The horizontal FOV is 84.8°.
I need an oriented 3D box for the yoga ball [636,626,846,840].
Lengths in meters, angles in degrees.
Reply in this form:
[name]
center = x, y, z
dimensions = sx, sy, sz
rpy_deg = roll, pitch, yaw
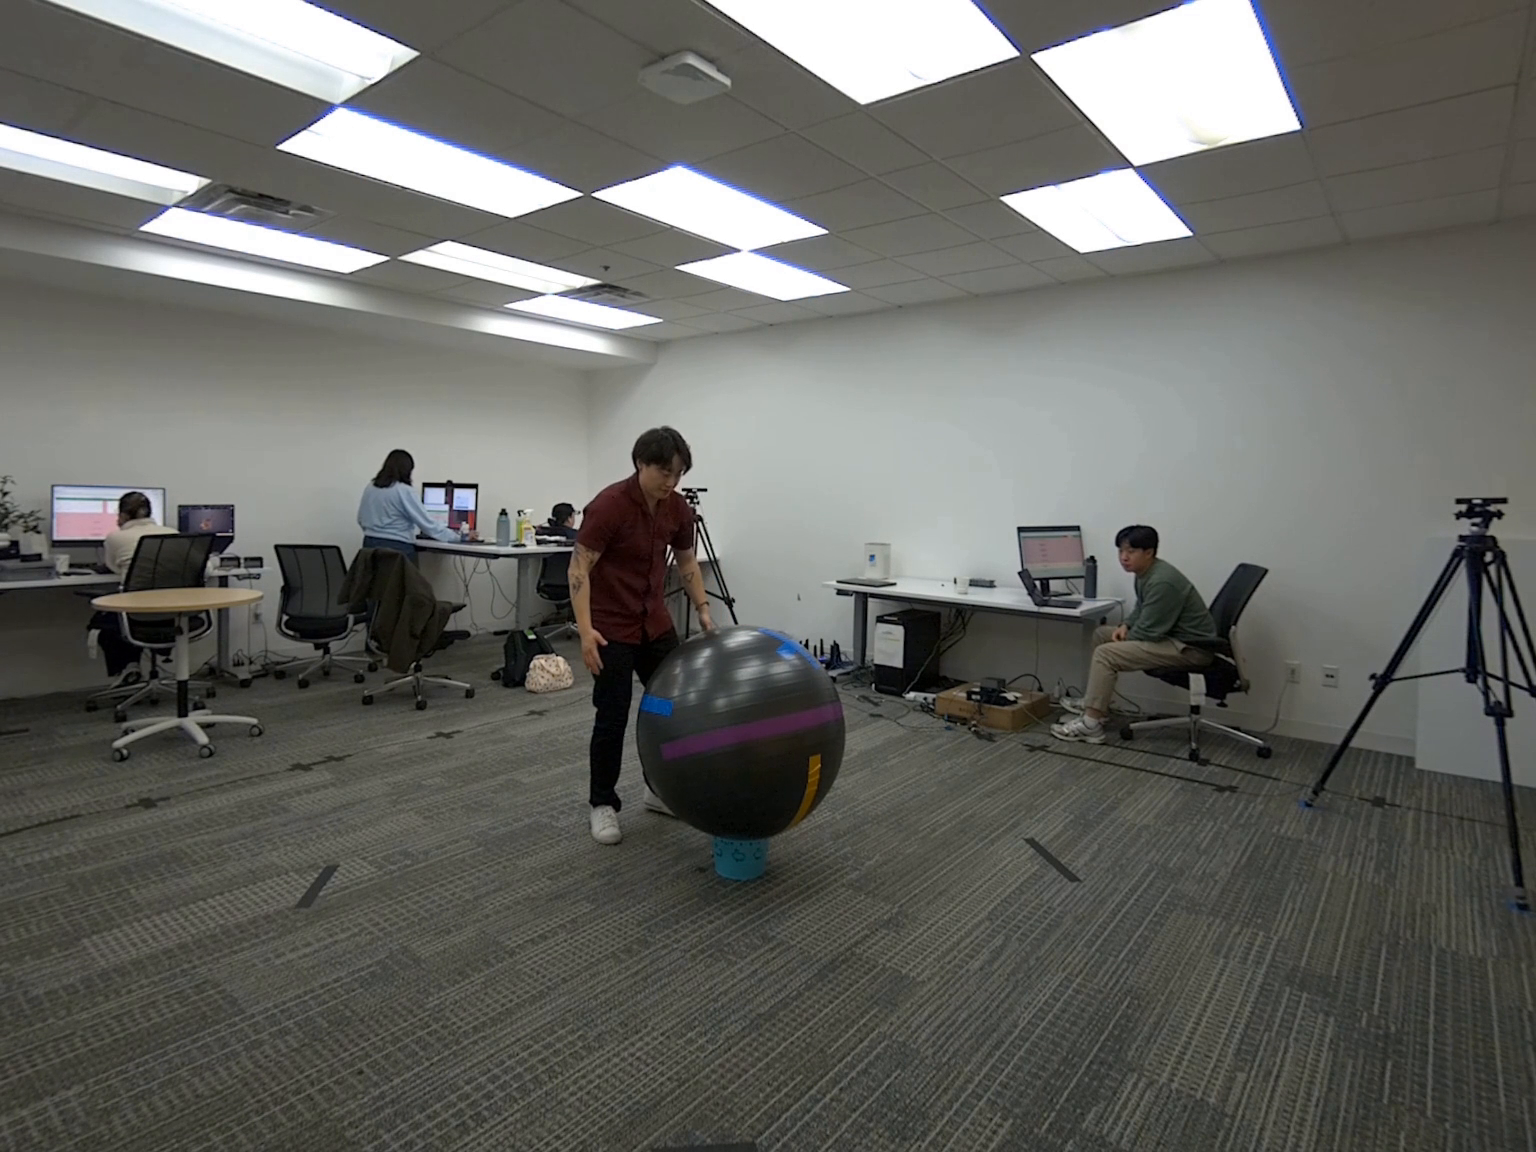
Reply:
[yoga ball]
center = -0.108, 0.562, 3.096
dimensions = 0.757, 0.756, 0.762
rpy_deg = 1, 4, -2
